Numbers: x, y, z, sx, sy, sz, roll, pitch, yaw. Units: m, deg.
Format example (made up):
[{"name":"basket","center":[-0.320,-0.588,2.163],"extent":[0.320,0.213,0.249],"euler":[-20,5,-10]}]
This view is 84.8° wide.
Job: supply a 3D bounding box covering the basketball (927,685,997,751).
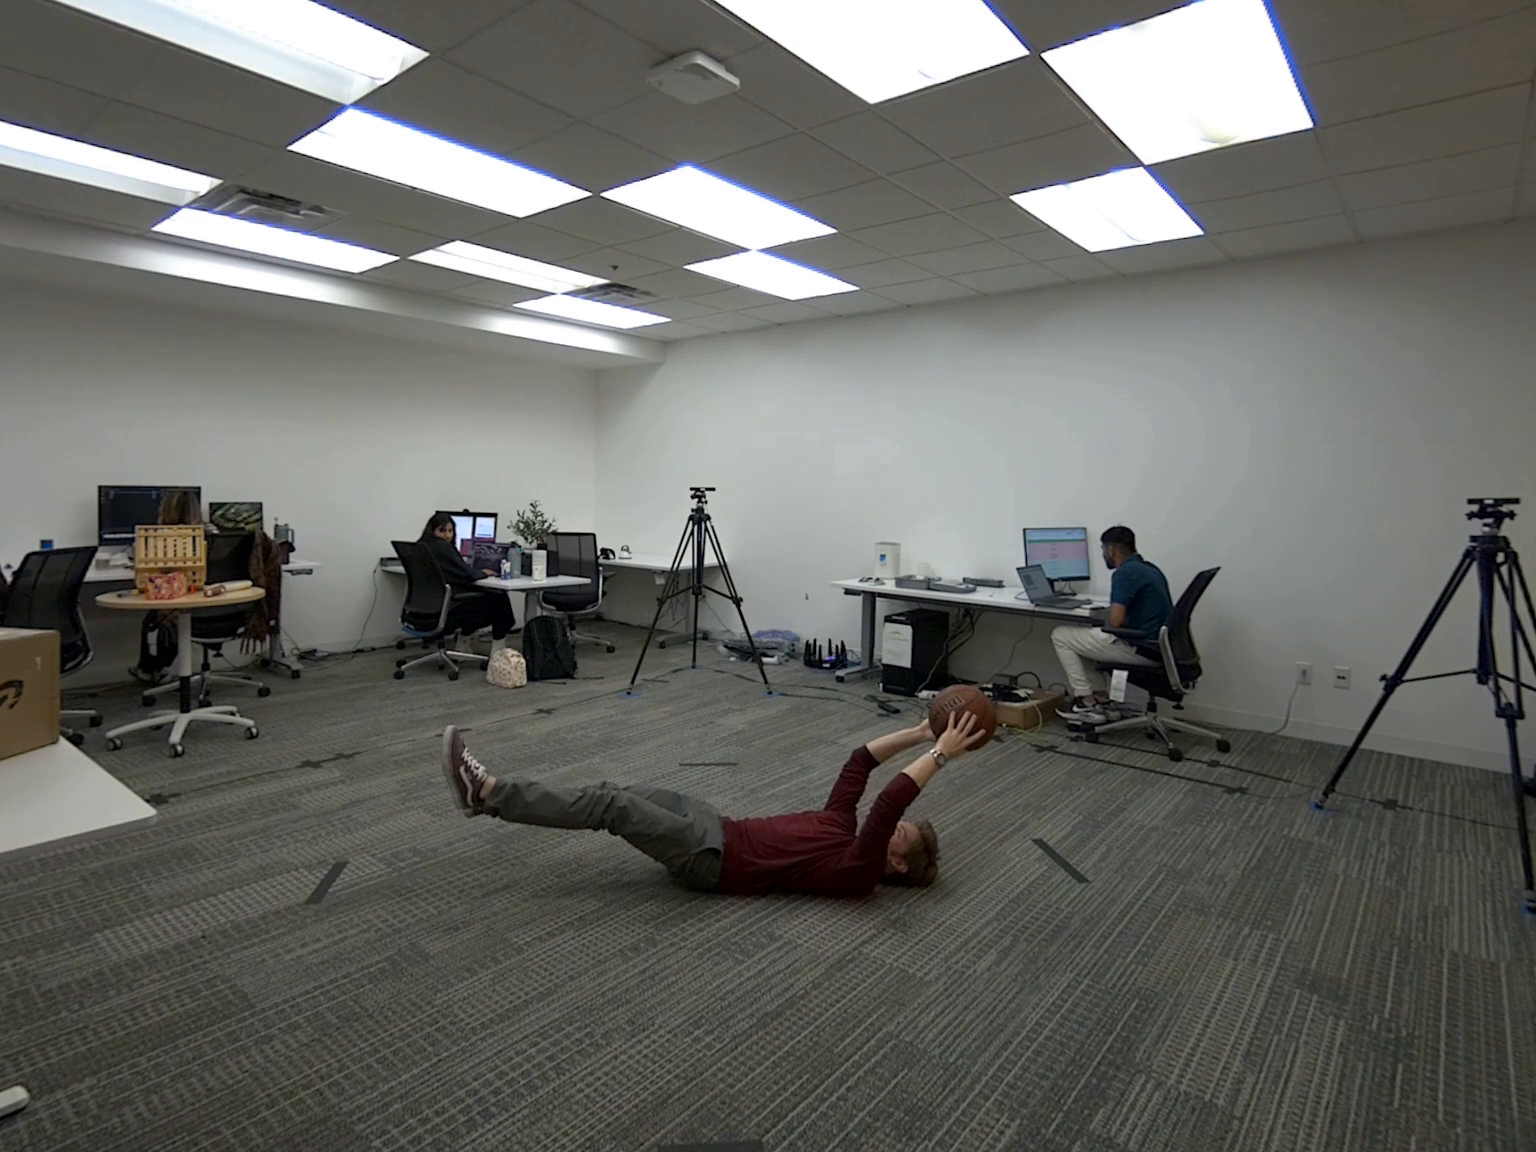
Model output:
[{"name":"basketball","center":[0.702,0.511,3.094],"extent":[0.235,0.235,0.237],"euler":[1,4,-2]}]
